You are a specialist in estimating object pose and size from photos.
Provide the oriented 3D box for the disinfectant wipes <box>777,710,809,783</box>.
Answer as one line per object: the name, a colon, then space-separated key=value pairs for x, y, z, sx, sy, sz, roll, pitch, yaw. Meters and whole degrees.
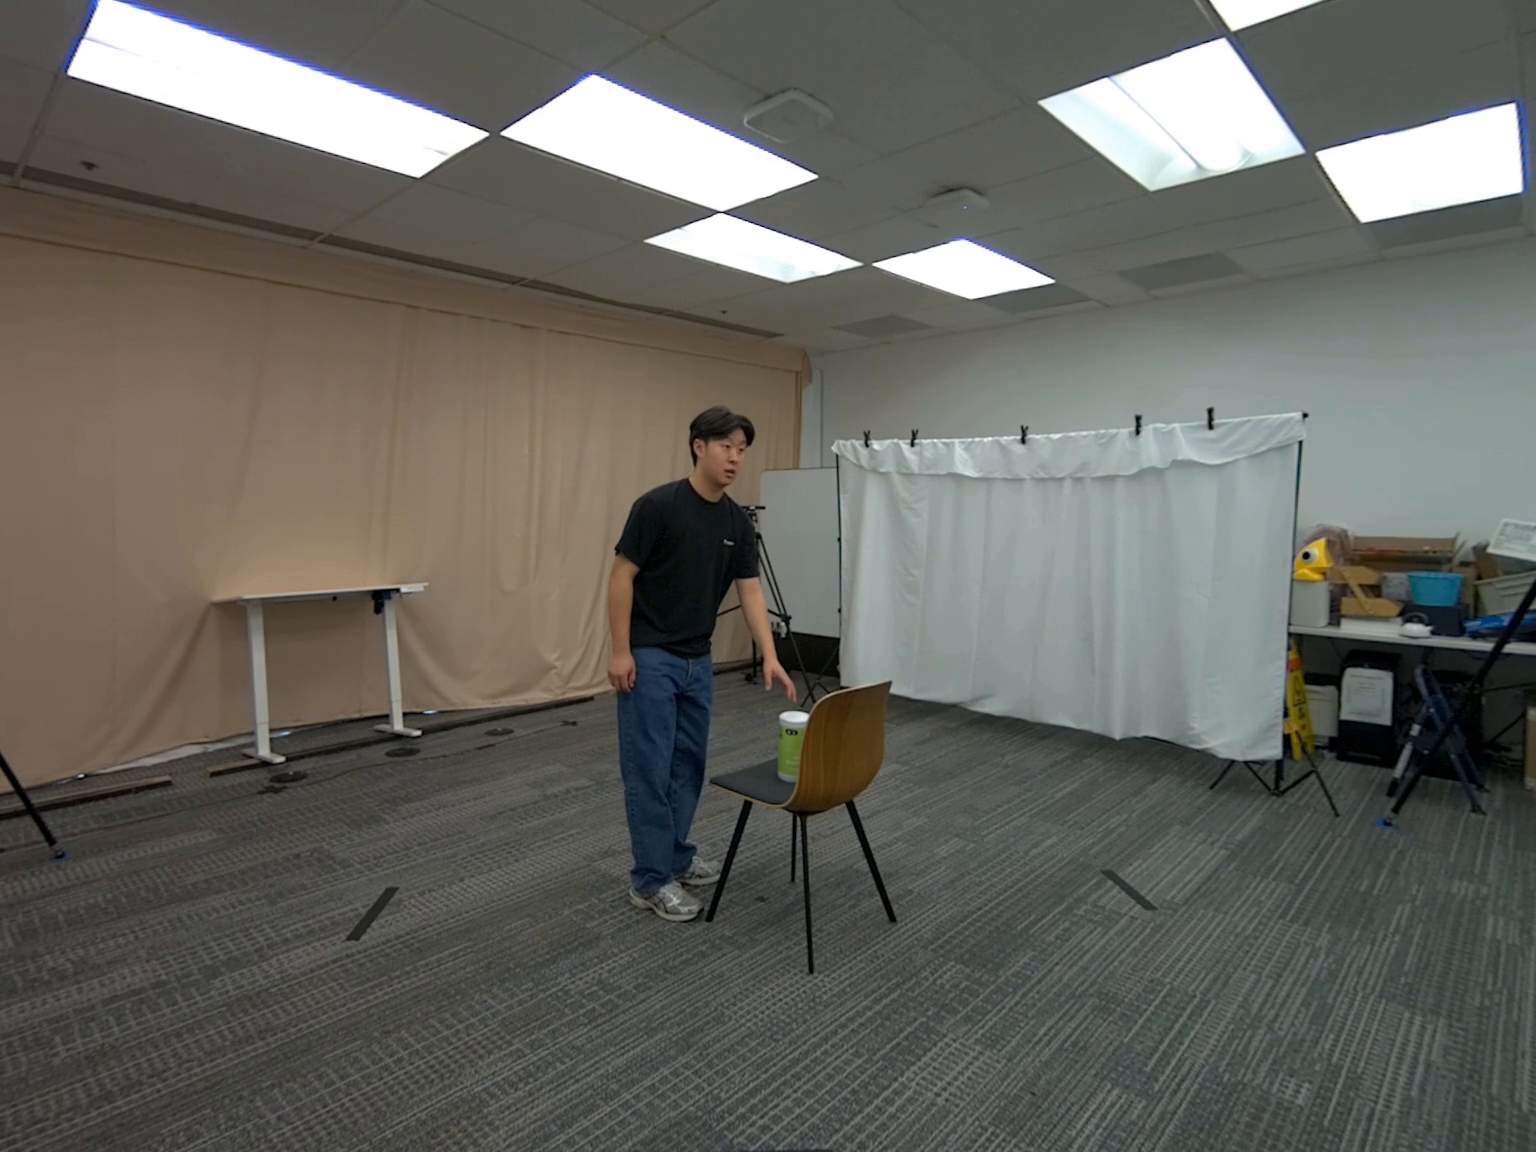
disinfectant wipes: x=0.095 y=0.576 z=2.828 sx=0.117 sy=0.216 sz=0.118 roll=1 pitch=6 yaw=-2
